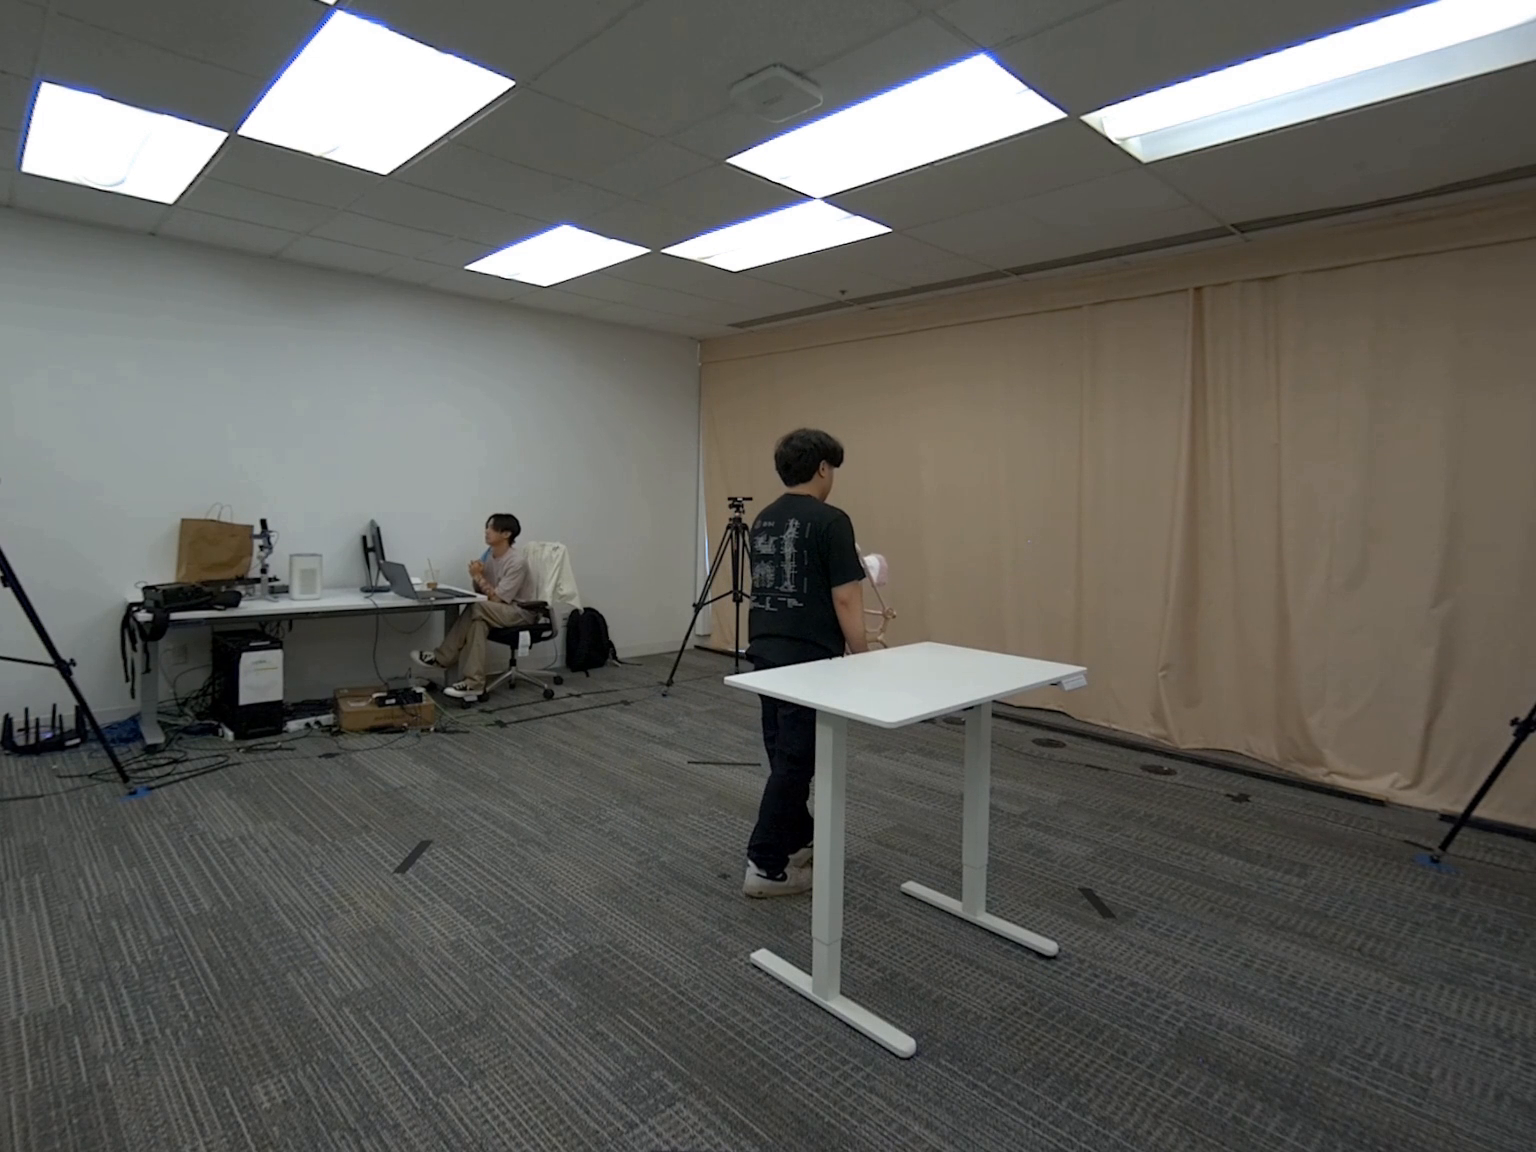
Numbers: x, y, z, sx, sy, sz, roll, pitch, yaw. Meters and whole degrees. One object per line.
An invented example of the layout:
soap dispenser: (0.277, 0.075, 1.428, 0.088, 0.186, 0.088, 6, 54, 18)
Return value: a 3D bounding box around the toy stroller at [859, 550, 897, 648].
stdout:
toy stroller: (0.384, 0.135, 3.554, 0.333, 0.537, 0.287, 10, -5, -29)
